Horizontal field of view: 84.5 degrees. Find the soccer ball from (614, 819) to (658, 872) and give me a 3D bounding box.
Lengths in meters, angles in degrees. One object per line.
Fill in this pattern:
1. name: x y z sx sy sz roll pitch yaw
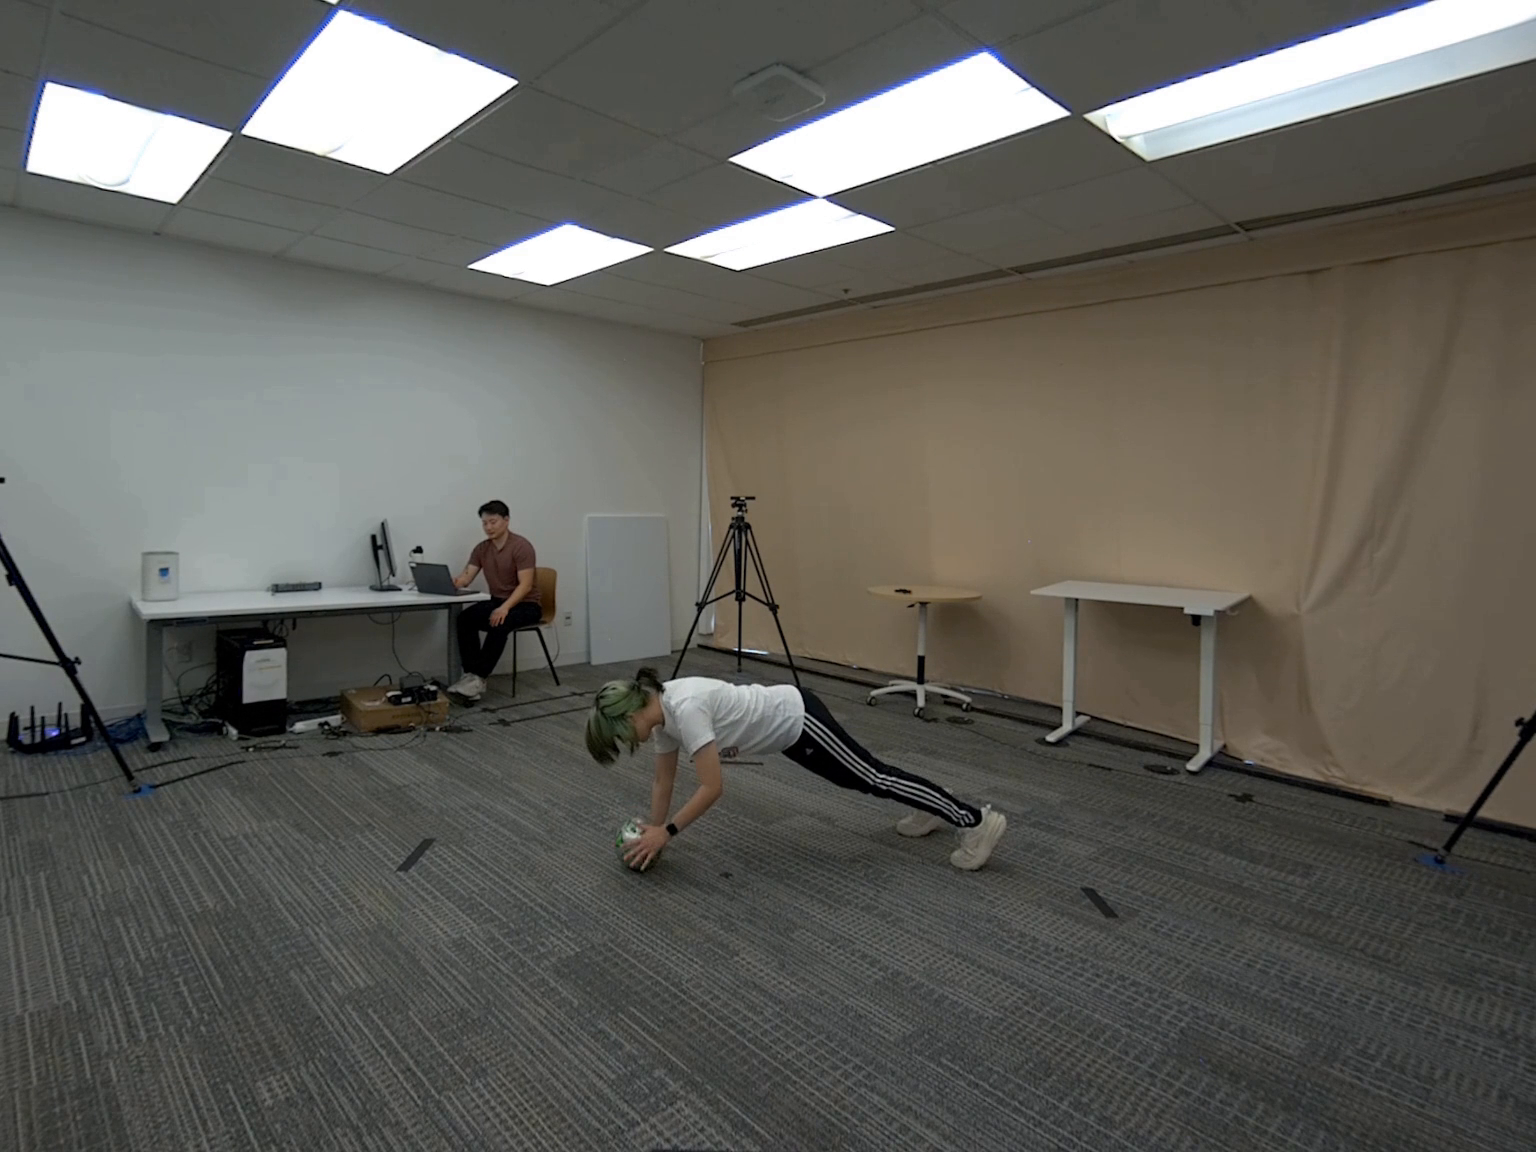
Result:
1. soccer ball: -0.489 0.999 3.144 0.187 0.187 0.188 1 4 -1
